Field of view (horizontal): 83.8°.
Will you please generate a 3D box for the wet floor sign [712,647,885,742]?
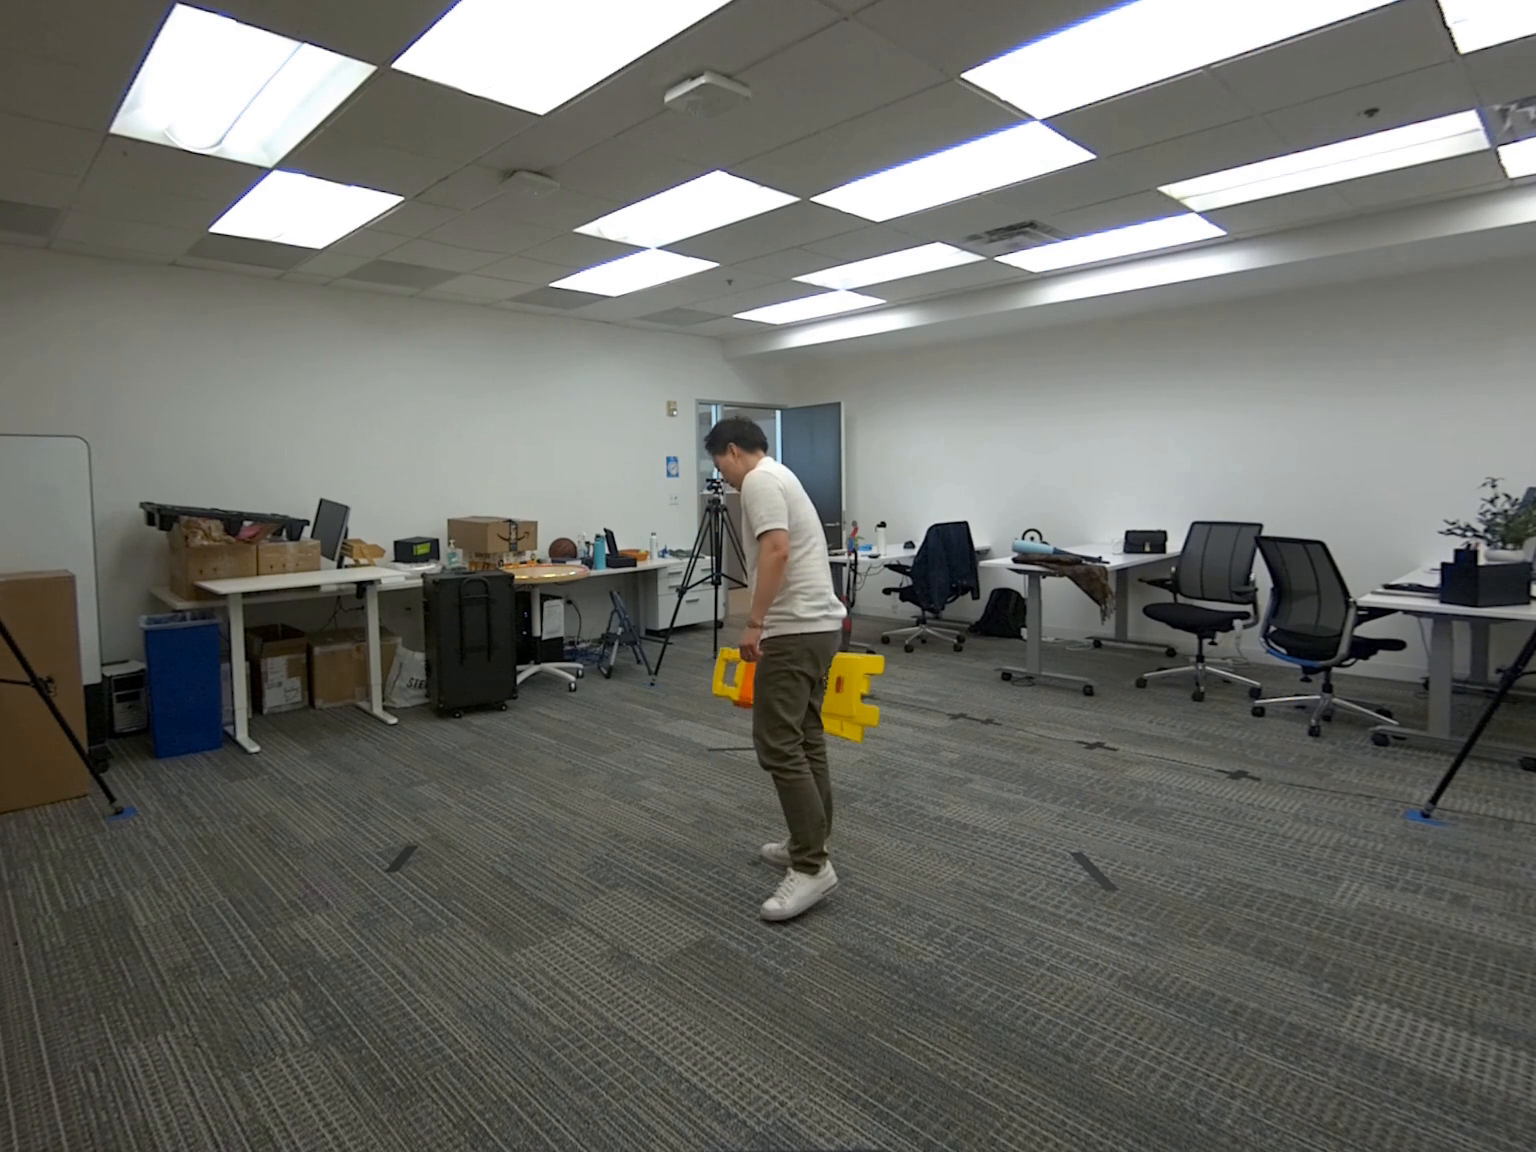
[{"bbox_3d":[0.099,0.441,3.423,0.647,0.287,0.285,10,-23,1],"label":"wet floor sign"}]
